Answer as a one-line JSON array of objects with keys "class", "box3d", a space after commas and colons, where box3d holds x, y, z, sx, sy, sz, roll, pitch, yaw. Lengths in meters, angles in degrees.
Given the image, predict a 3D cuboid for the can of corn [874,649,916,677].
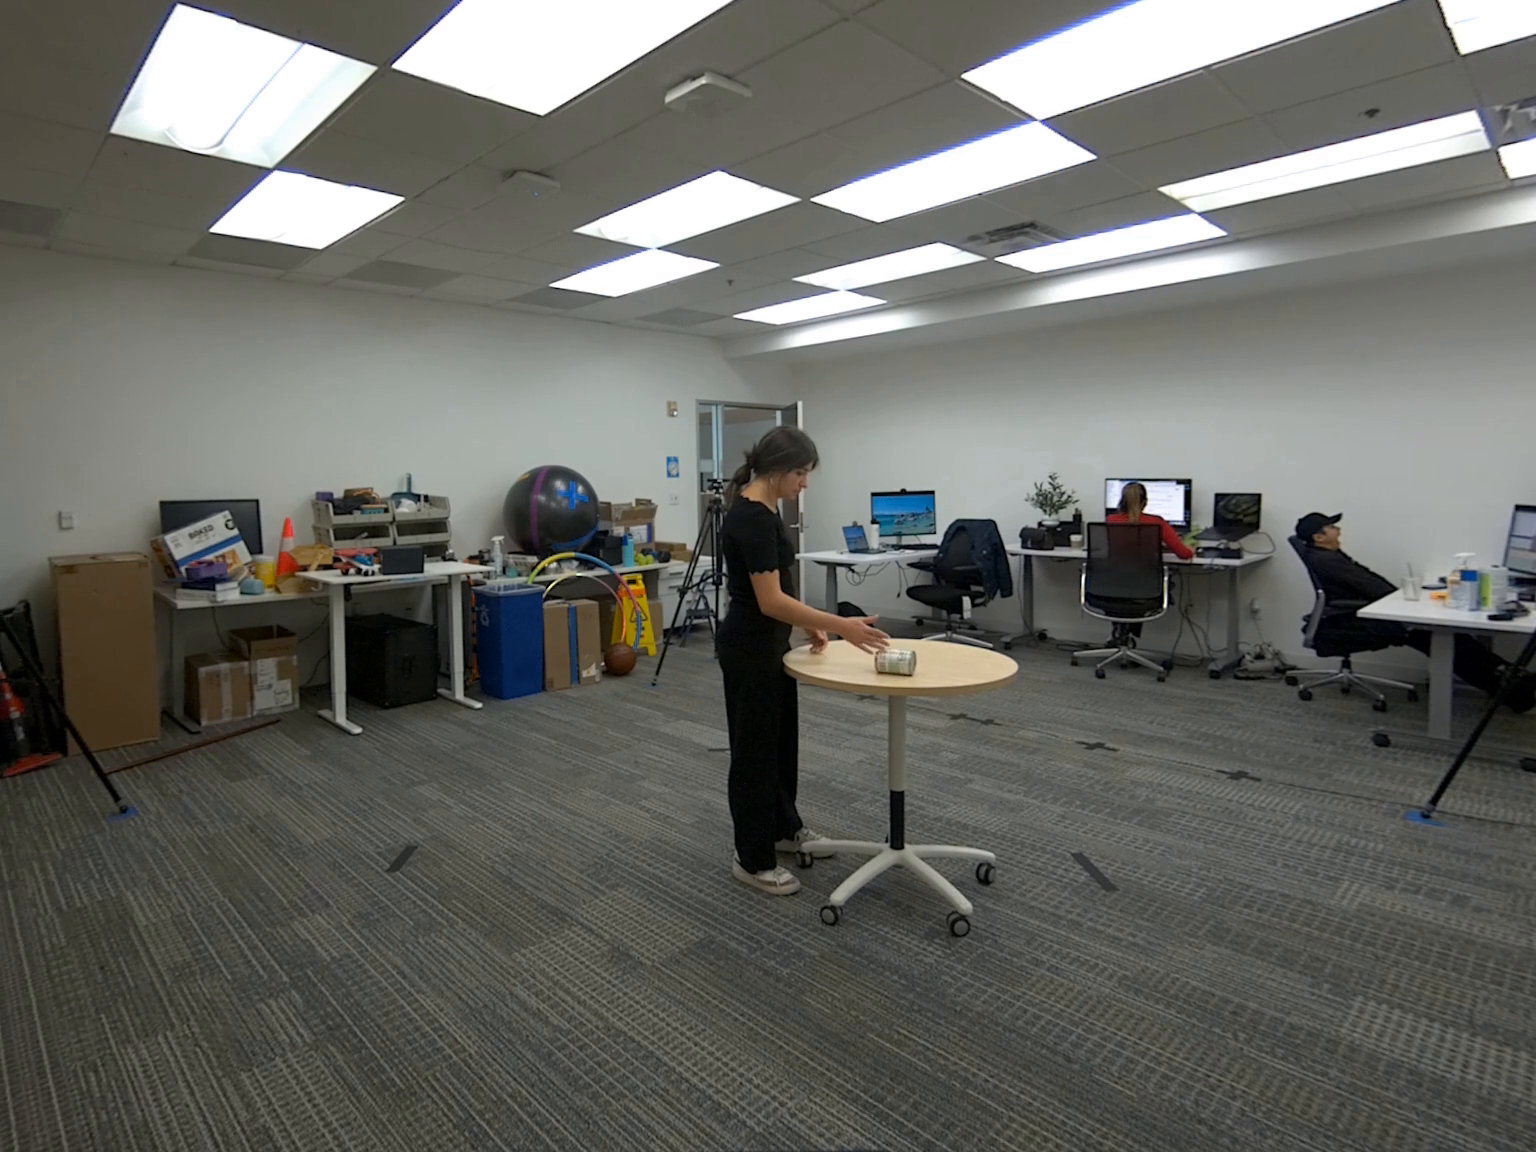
[{"class": "can of corn", "box3d": [0.402, 0.266, 2.646, 0.113, 0.074, 0.073, 3, 6, 24]}]
